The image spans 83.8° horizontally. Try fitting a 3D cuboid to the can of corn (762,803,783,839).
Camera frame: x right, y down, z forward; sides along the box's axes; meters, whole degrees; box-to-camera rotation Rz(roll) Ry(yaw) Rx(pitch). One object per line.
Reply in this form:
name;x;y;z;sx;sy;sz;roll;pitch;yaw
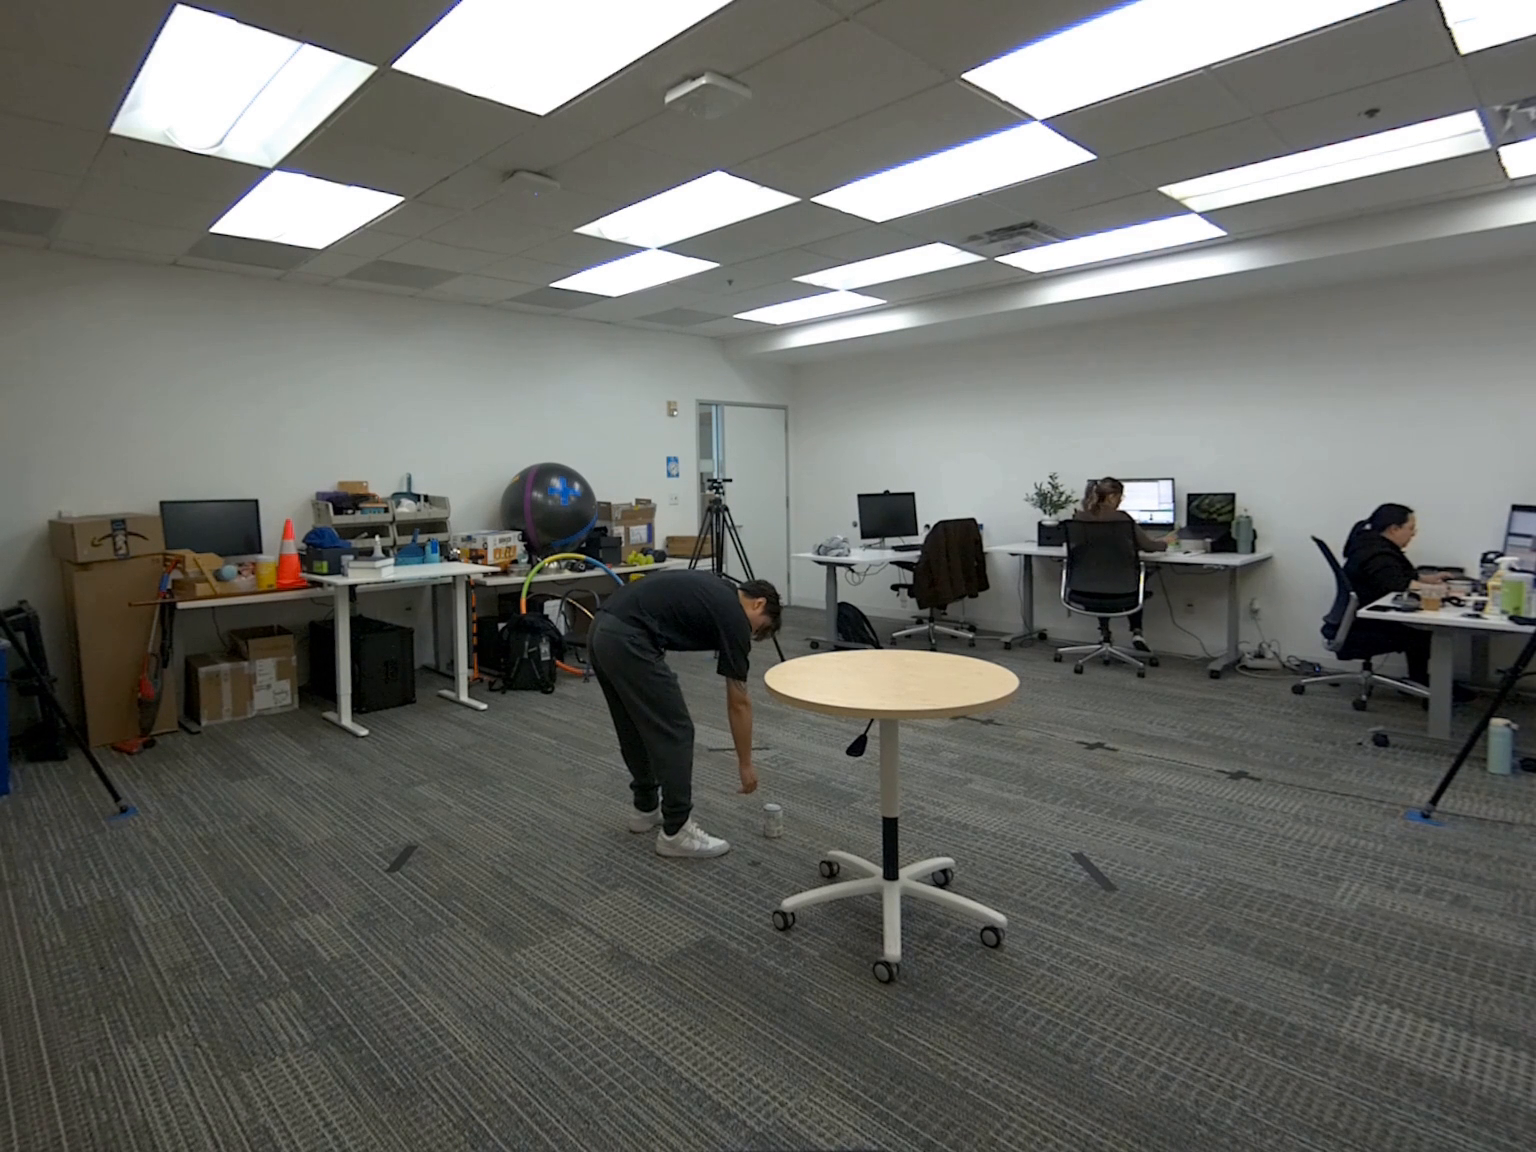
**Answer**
can of corn;0.019;0.959;3.350;0.074;0.110;0.074;-2;5;-1
